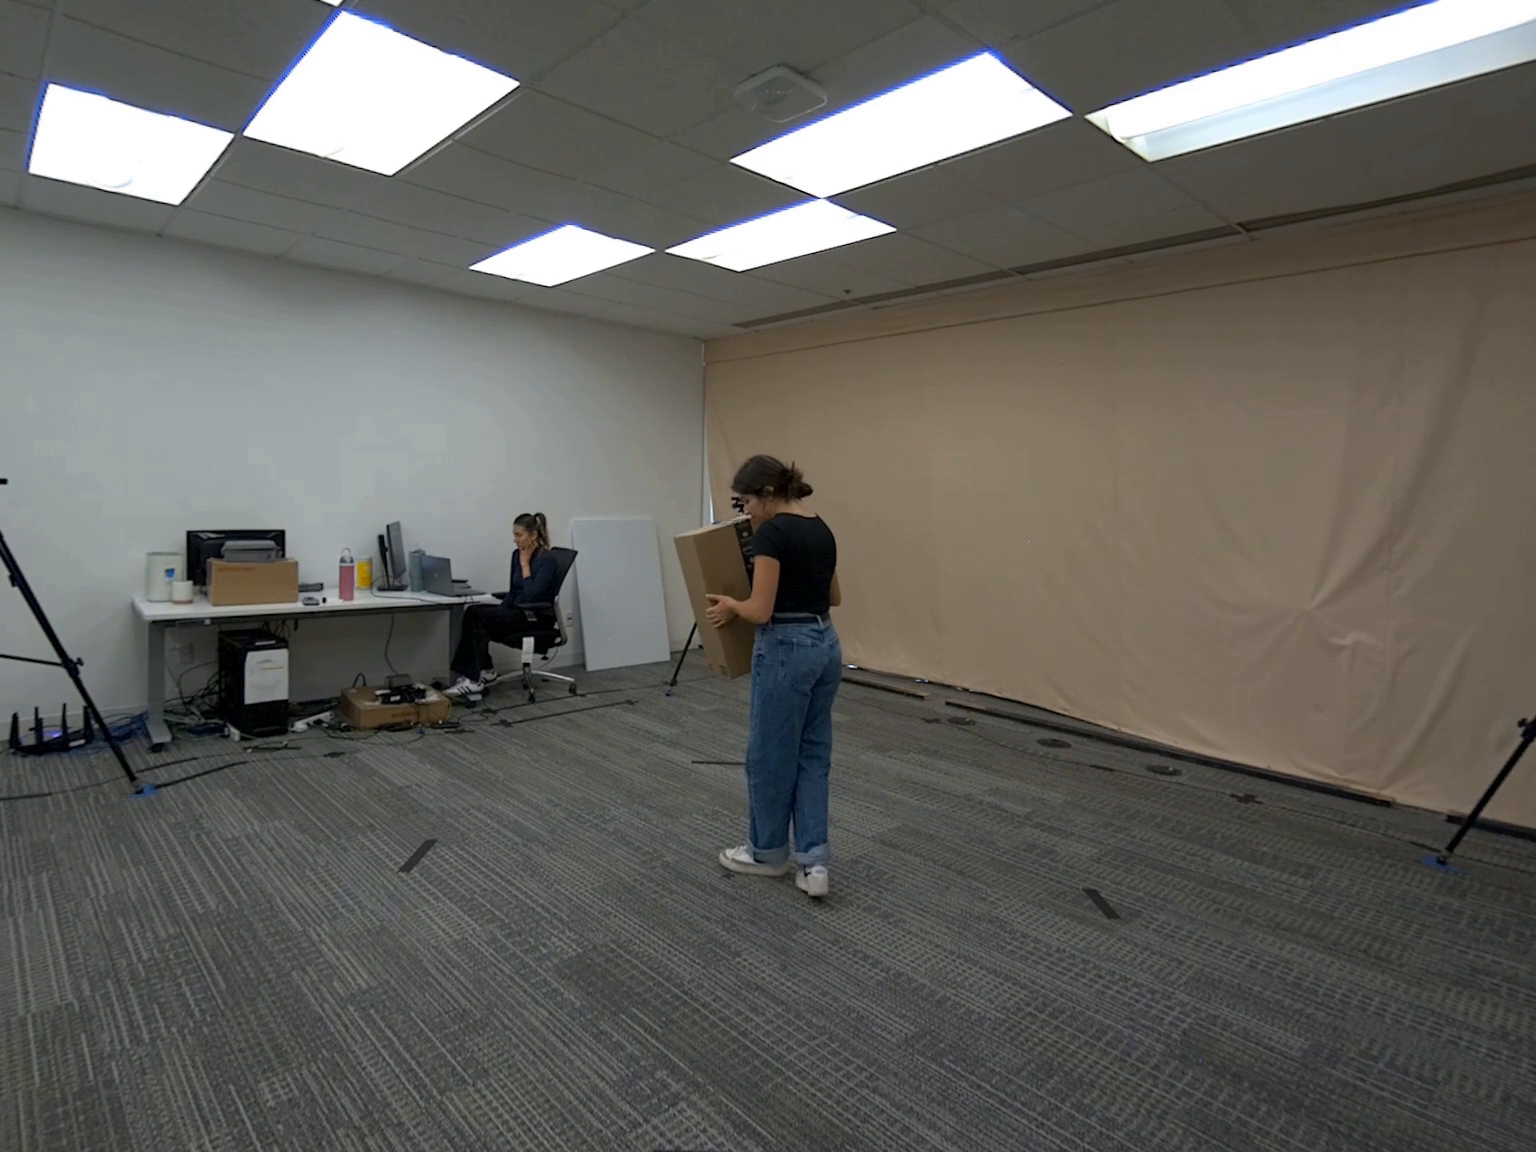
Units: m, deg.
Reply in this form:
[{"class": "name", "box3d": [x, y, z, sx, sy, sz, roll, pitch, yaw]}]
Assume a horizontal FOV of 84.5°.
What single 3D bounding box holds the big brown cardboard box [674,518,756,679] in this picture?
[{"class": "big brown cardboard box", "box3d": [-0.088, 0.053, 3.307, 0.412, 0.587, 0.237, -16, 4, -23]}]
